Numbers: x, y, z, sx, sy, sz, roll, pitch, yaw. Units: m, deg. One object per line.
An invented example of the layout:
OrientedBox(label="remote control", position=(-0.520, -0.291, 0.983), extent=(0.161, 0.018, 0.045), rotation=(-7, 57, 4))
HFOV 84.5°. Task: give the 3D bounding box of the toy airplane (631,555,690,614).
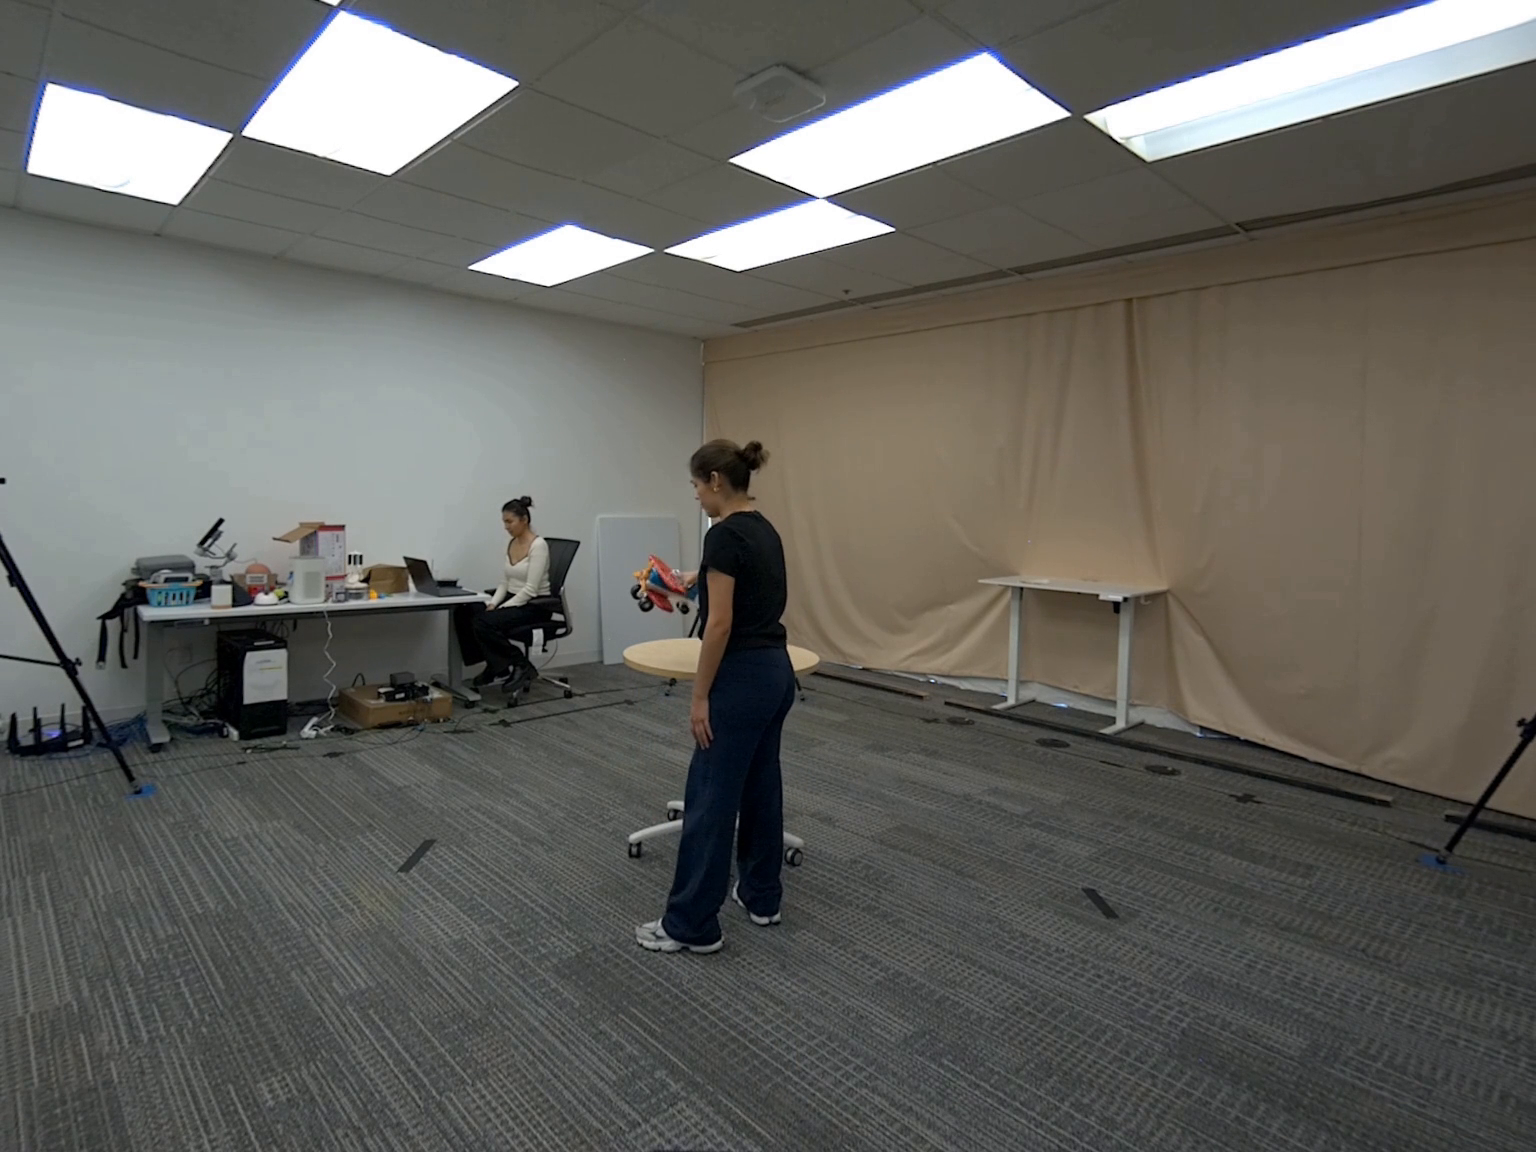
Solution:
OrientedBox(label="toy airplane", position=(-0.379, 0.034, 3.062), extent=(0.257, 0.155, 0.254), rotation=(34, 21, 24))
